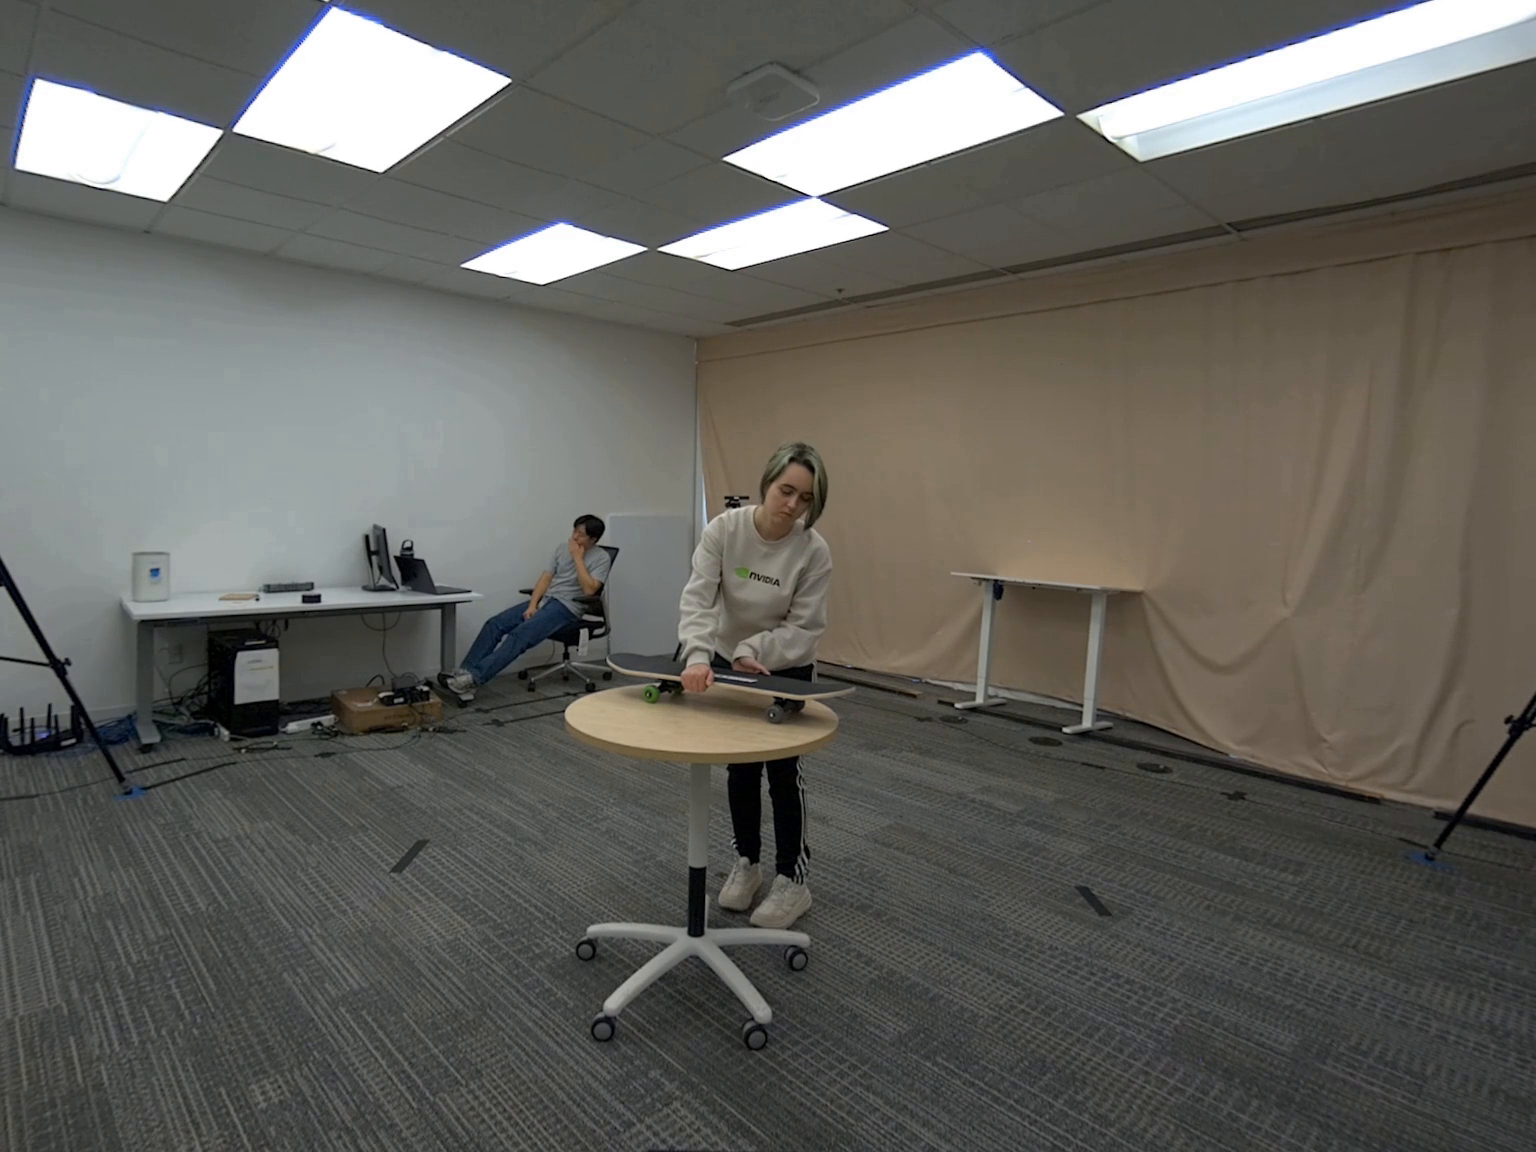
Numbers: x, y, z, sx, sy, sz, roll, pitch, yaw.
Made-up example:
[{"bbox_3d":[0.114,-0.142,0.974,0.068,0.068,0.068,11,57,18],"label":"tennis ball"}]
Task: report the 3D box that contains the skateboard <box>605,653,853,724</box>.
[{"bbox_3d":[-0.146,0.332,2.438,0.802,0.110,0.190,4,6,27],"label":"skateboard"}]
